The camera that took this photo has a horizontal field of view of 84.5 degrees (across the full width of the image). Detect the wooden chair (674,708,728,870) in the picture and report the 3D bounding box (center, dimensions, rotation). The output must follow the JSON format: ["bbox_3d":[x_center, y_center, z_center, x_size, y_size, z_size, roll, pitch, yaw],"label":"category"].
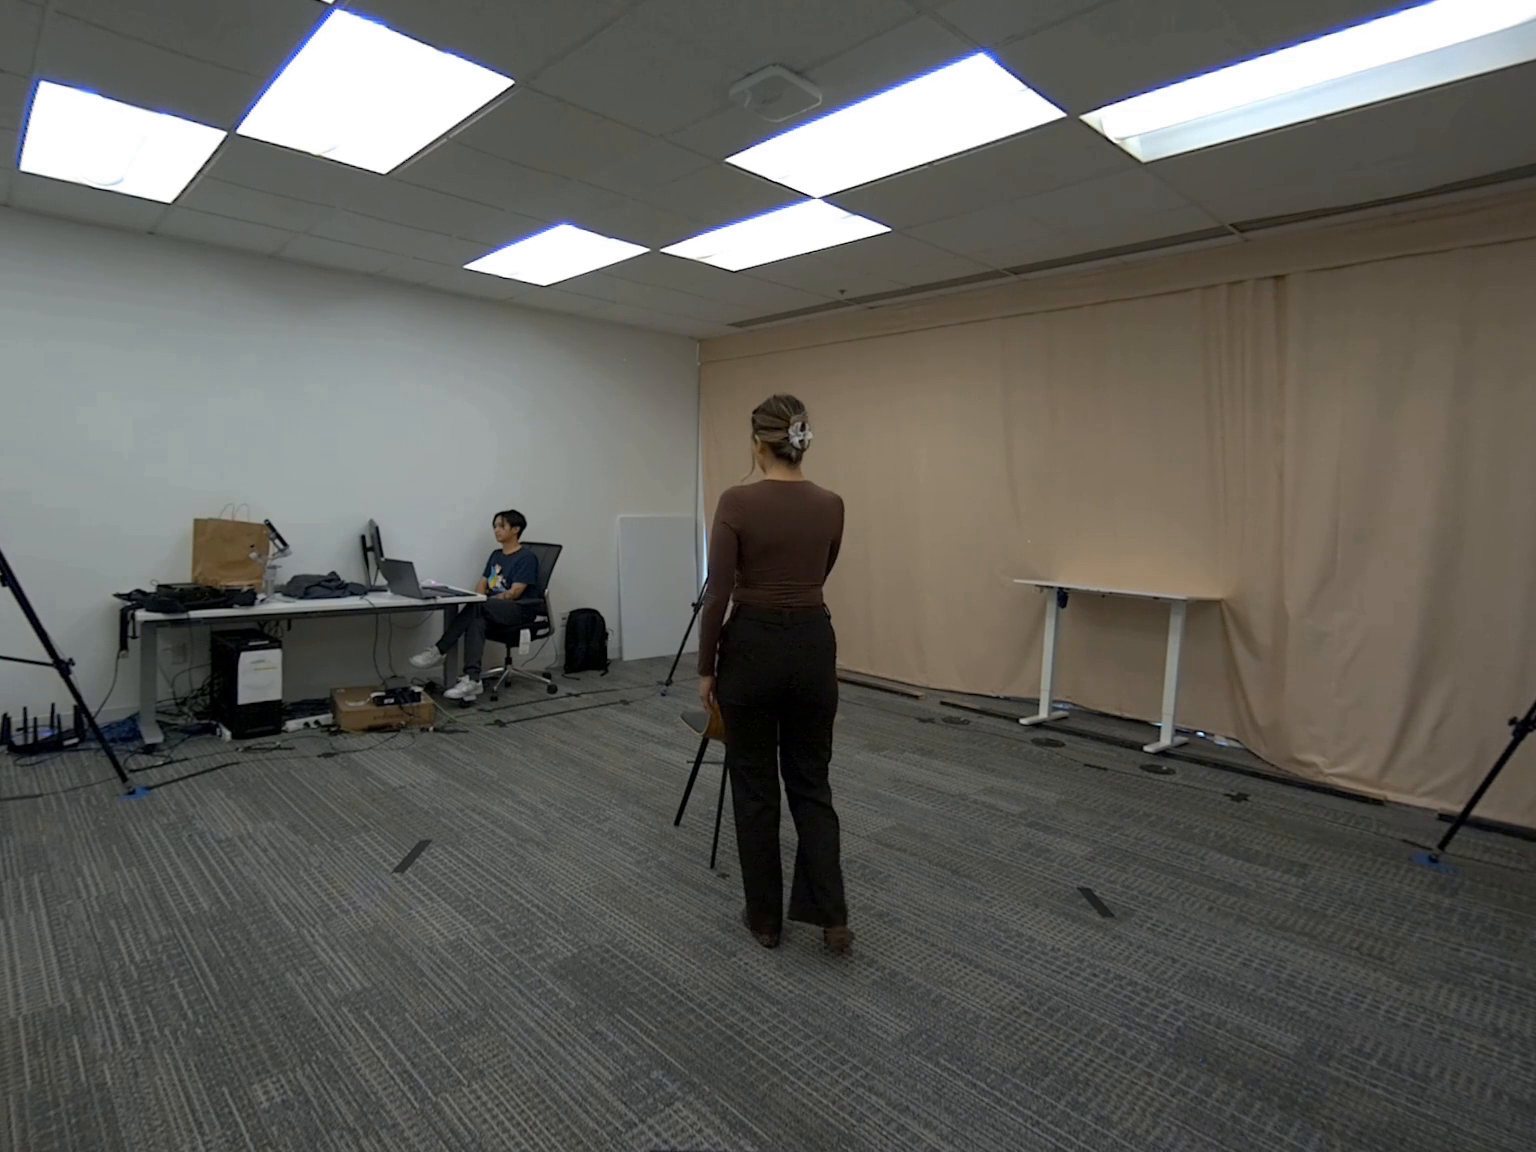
[{"bbox_3d":[-0.098,0.656,3.425,0.470,0.873,0.535,0,8,-23],"label":"wooden chair"}]
